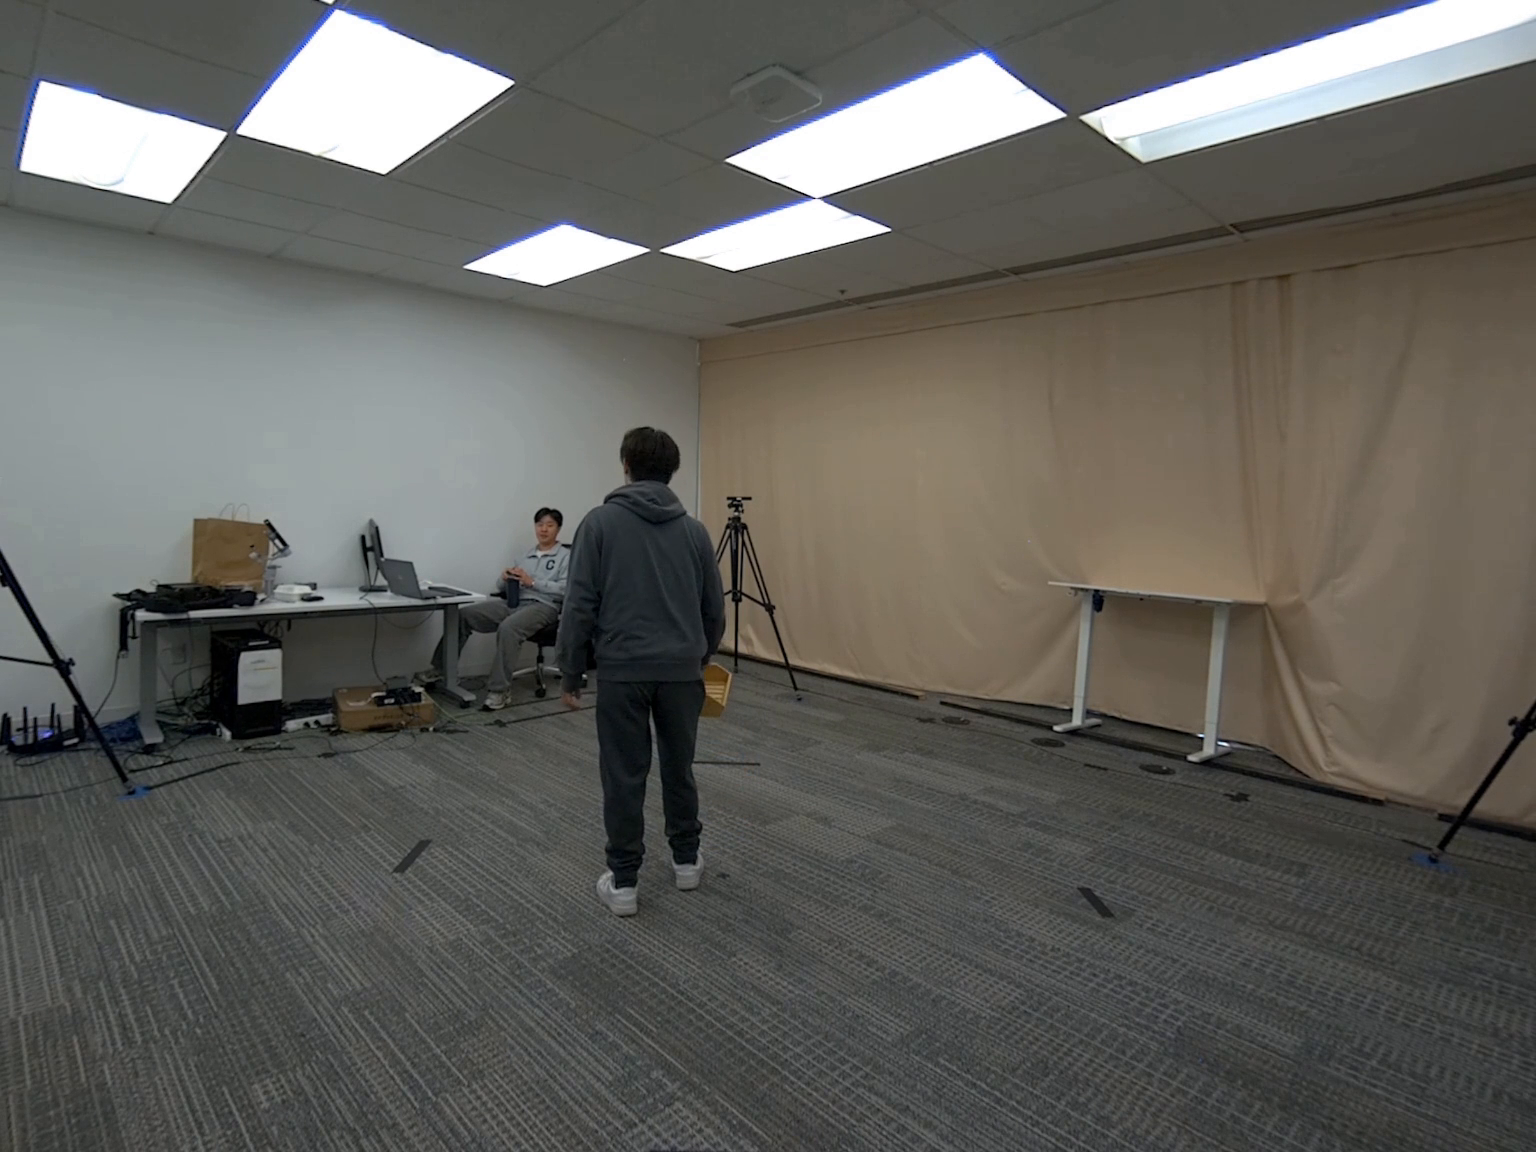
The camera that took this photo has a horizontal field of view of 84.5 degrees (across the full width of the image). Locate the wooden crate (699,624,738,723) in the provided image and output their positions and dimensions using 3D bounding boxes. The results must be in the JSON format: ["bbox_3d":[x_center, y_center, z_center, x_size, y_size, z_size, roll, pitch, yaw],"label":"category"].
[{"bbox_3d":[-0.283,0.367,3.315,0.303,0.270,0.327,2,16,3],"label":"wooden crate"}]
